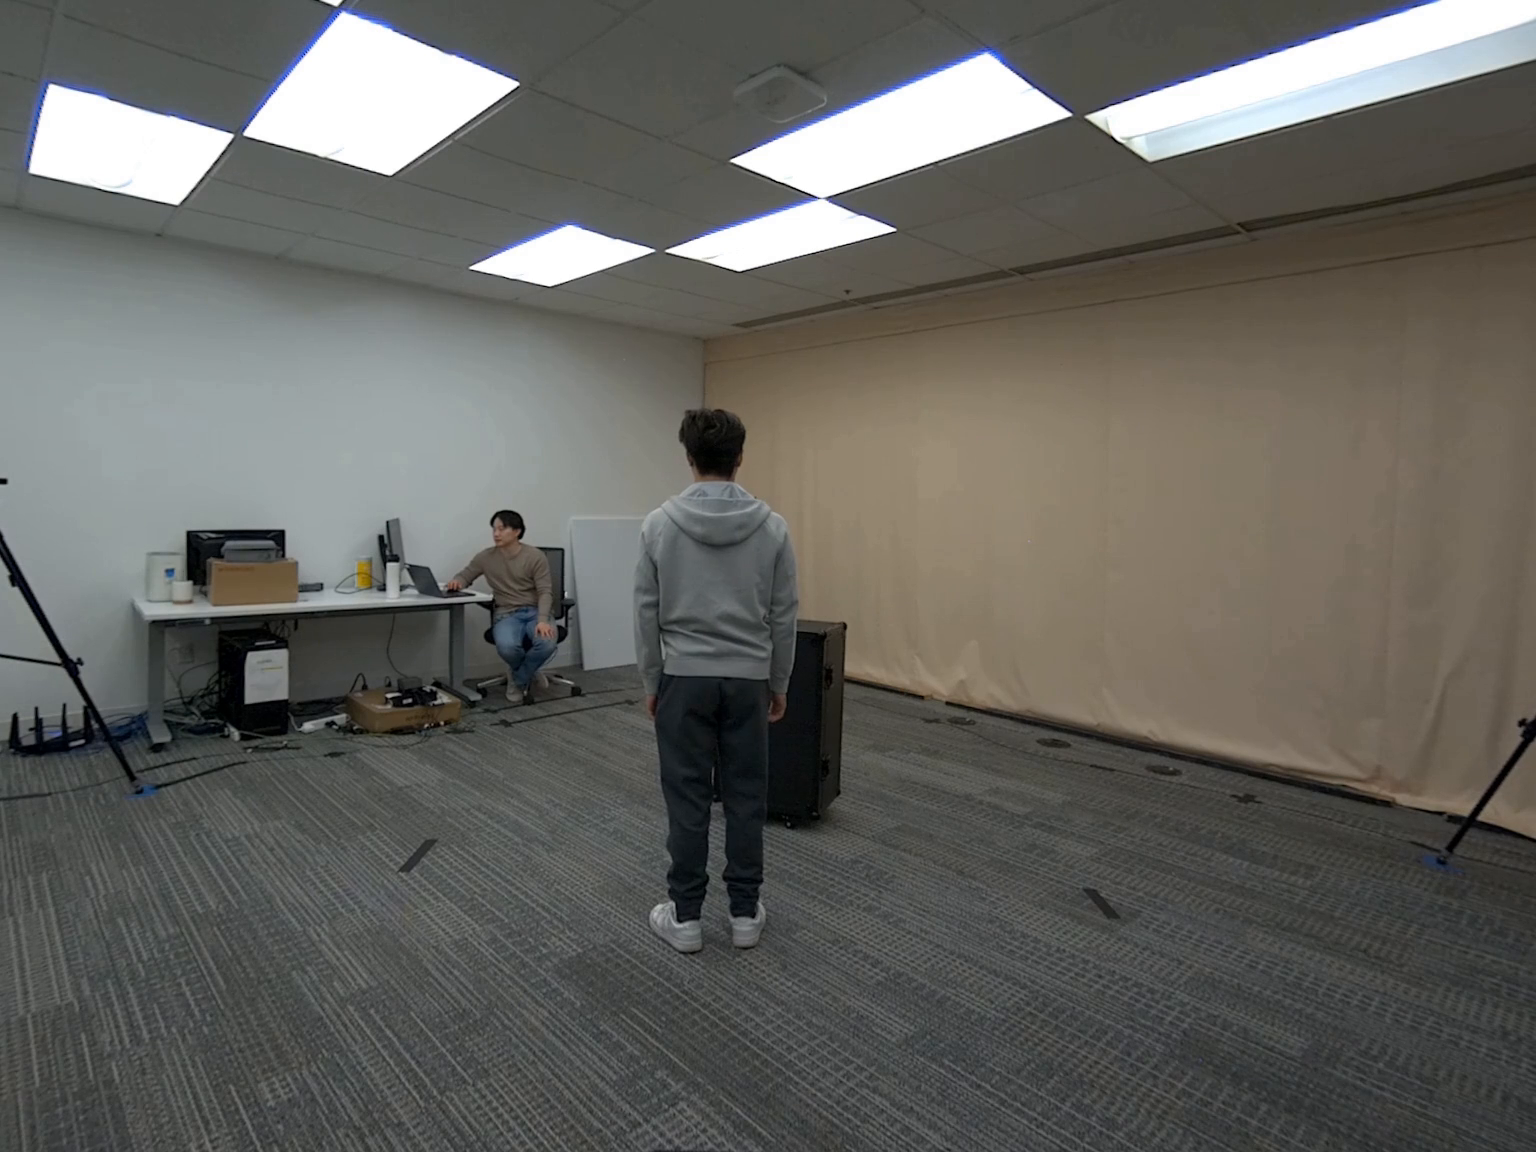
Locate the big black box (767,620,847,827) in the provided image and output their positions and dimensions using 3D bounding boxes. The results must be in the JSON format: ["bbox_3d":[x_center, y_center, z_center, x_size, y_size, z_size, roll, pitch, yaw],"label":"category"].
[{"bbox_3d":[0.052,0.629,3.740,0.530,0.859,0.390,3,3,22],"label":"big black box"}]
